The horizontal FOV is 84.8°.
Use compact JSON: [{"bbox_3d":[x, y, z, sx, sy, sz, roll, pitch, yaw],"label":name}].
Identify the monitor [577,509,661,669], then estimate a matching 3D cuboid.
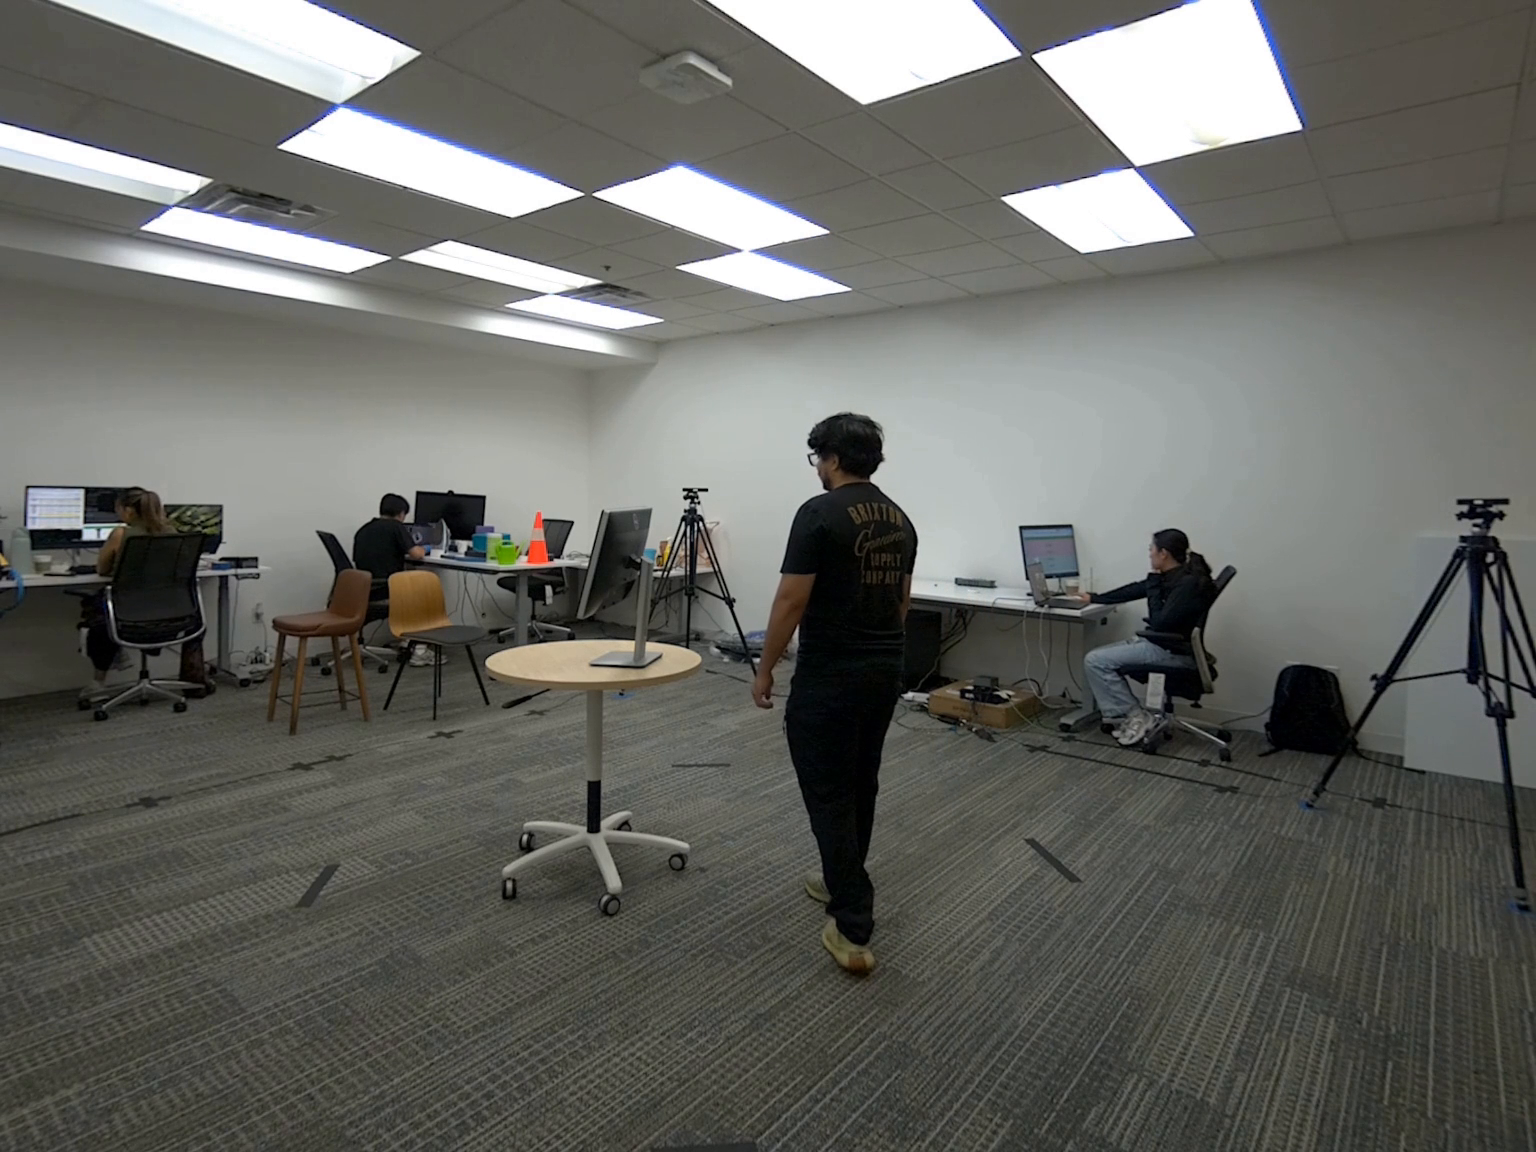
[{"bbox_3d":[-0.485,0.036,3.000,0.212,0.552,0.561,8,5,7],"label":"monitor"}]
